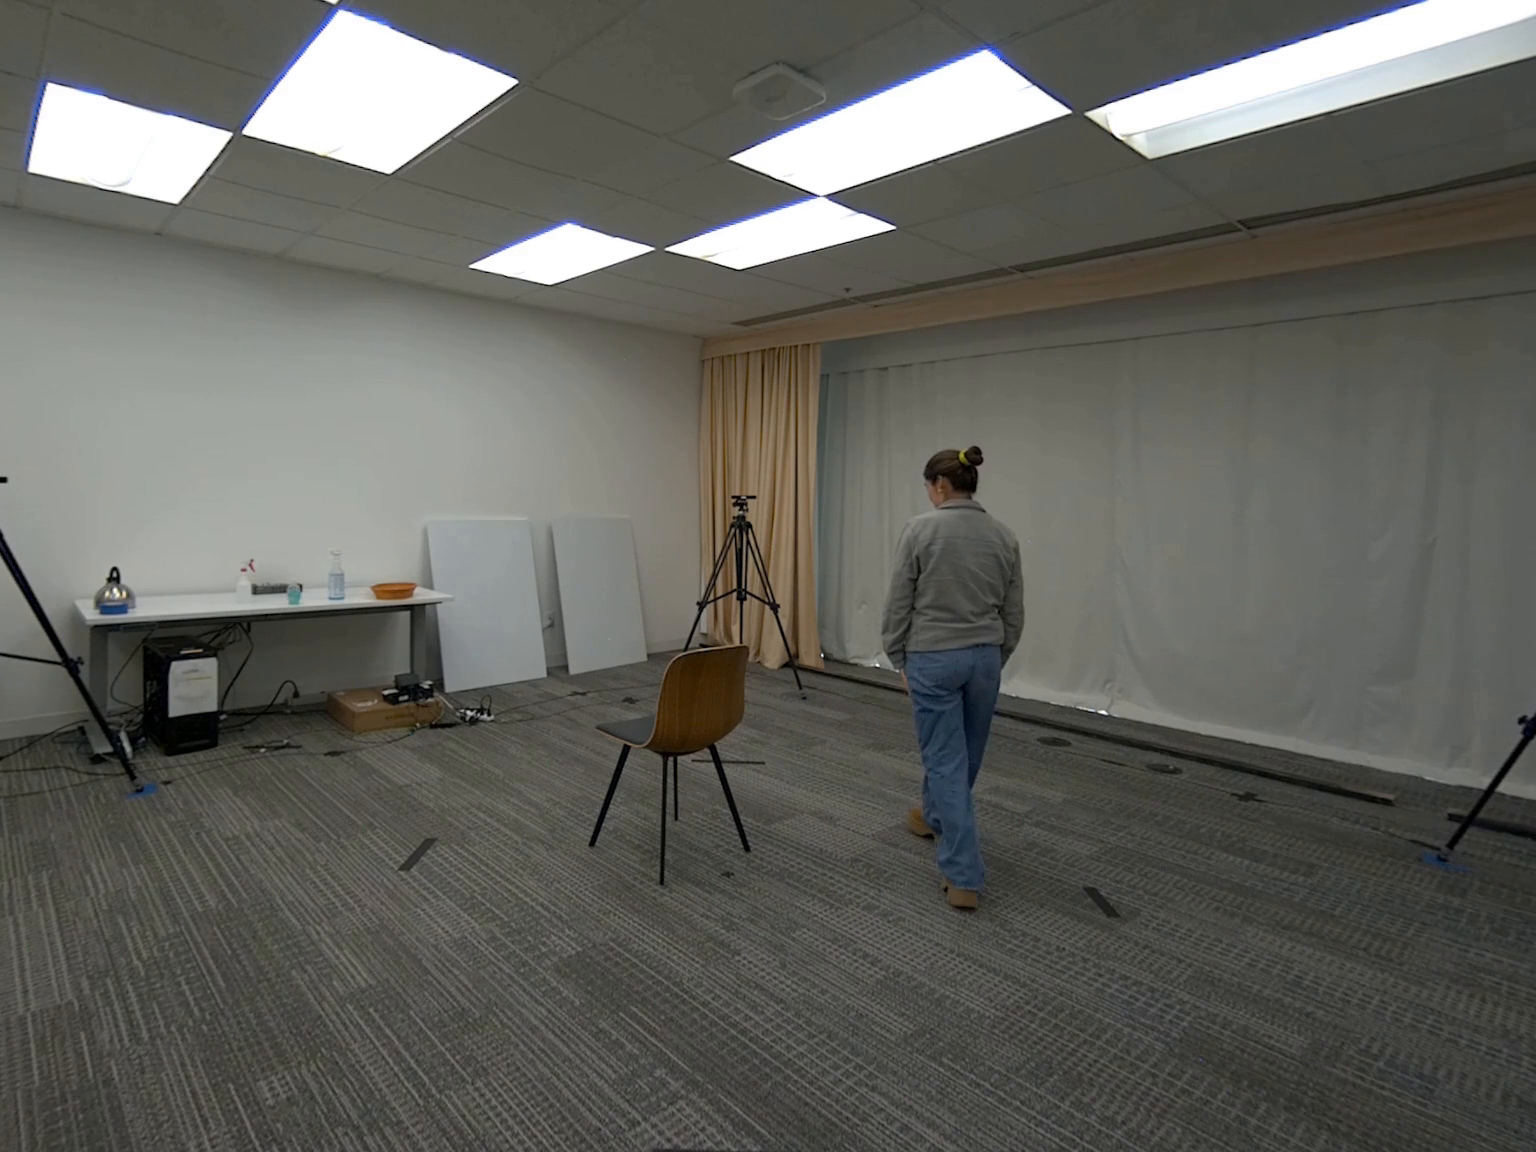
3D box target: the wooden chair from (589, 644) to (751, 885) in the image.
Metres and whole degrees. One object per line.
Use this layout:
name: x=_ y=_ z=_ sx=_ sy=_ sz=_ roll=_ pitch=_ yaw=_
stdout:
wooden chair: x=-0.387 y=0.652 z=3.286 sx=0.467 sy=0.873 sz=0.537 roll=-3 pitch=10 yaw=-45
